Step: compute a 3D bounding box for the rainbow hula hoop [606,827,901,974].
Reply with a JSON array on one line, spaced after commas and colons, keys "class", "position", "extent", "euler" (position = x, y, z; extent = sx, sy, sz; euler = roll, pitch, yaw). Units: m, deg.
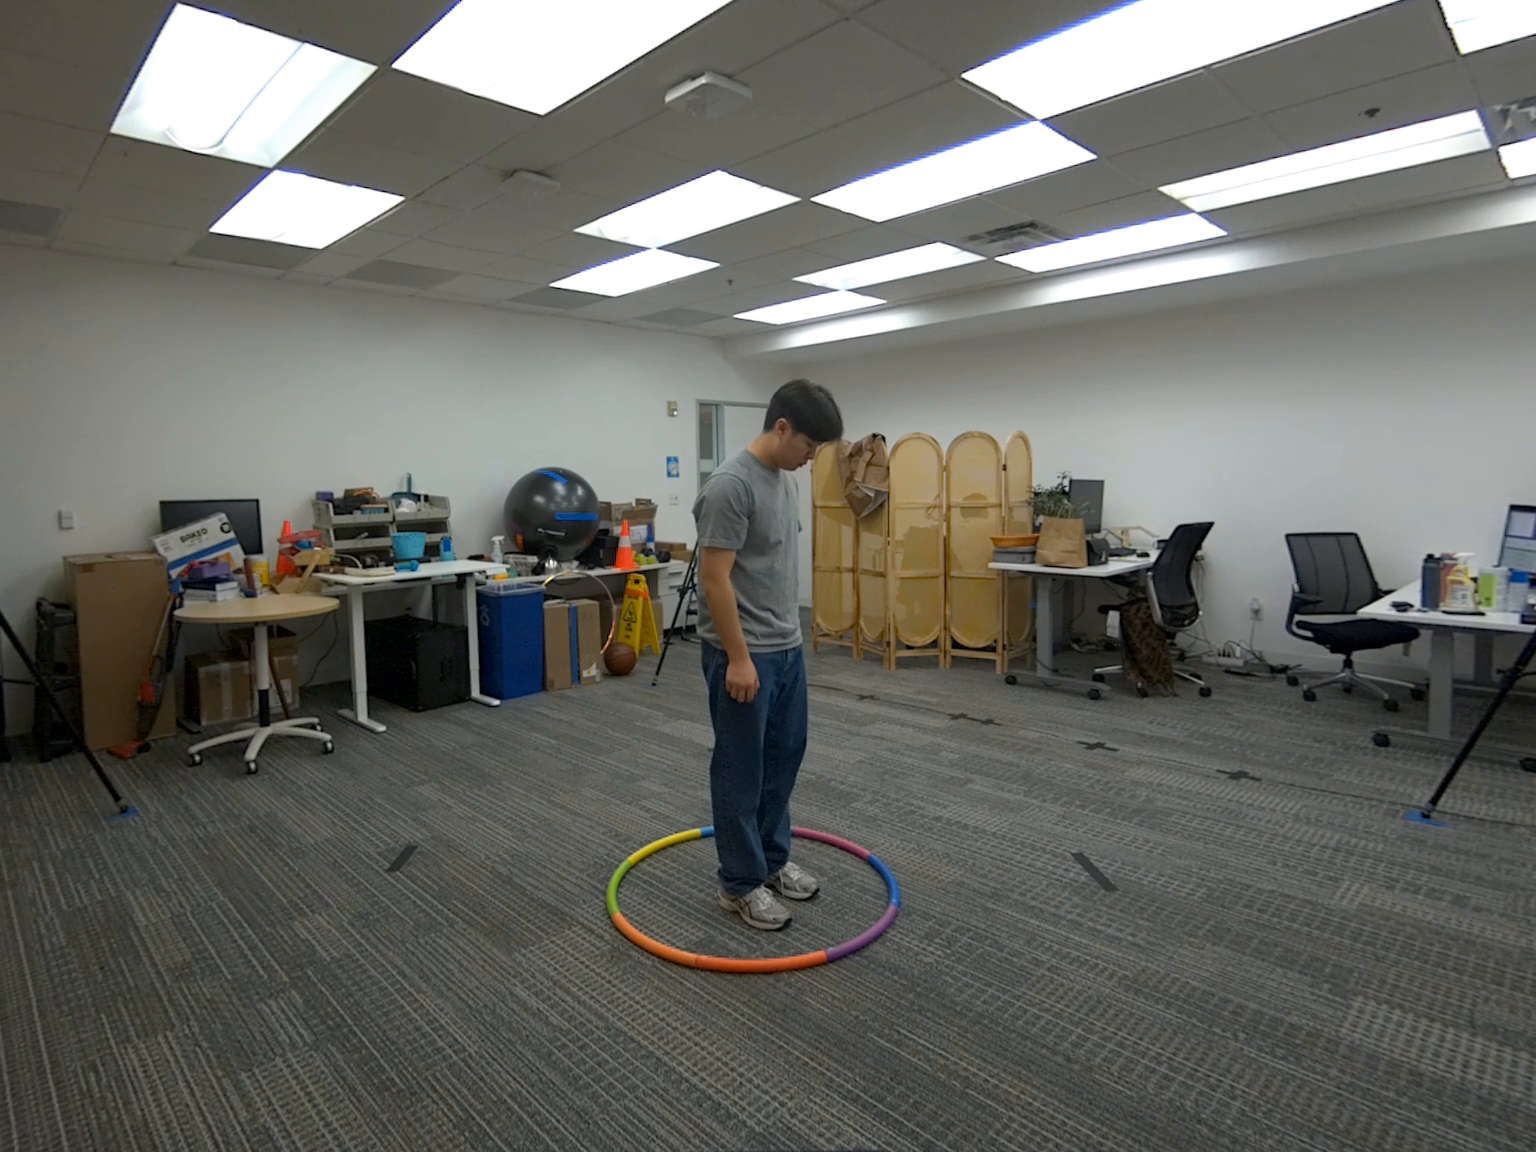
[{"class": "rainbow hula hoop", "position": [-0.056, 1.040, 2.899], "extent": [0.978, 0.035, 0.984], "euler": [-1, 7, -2]}]
